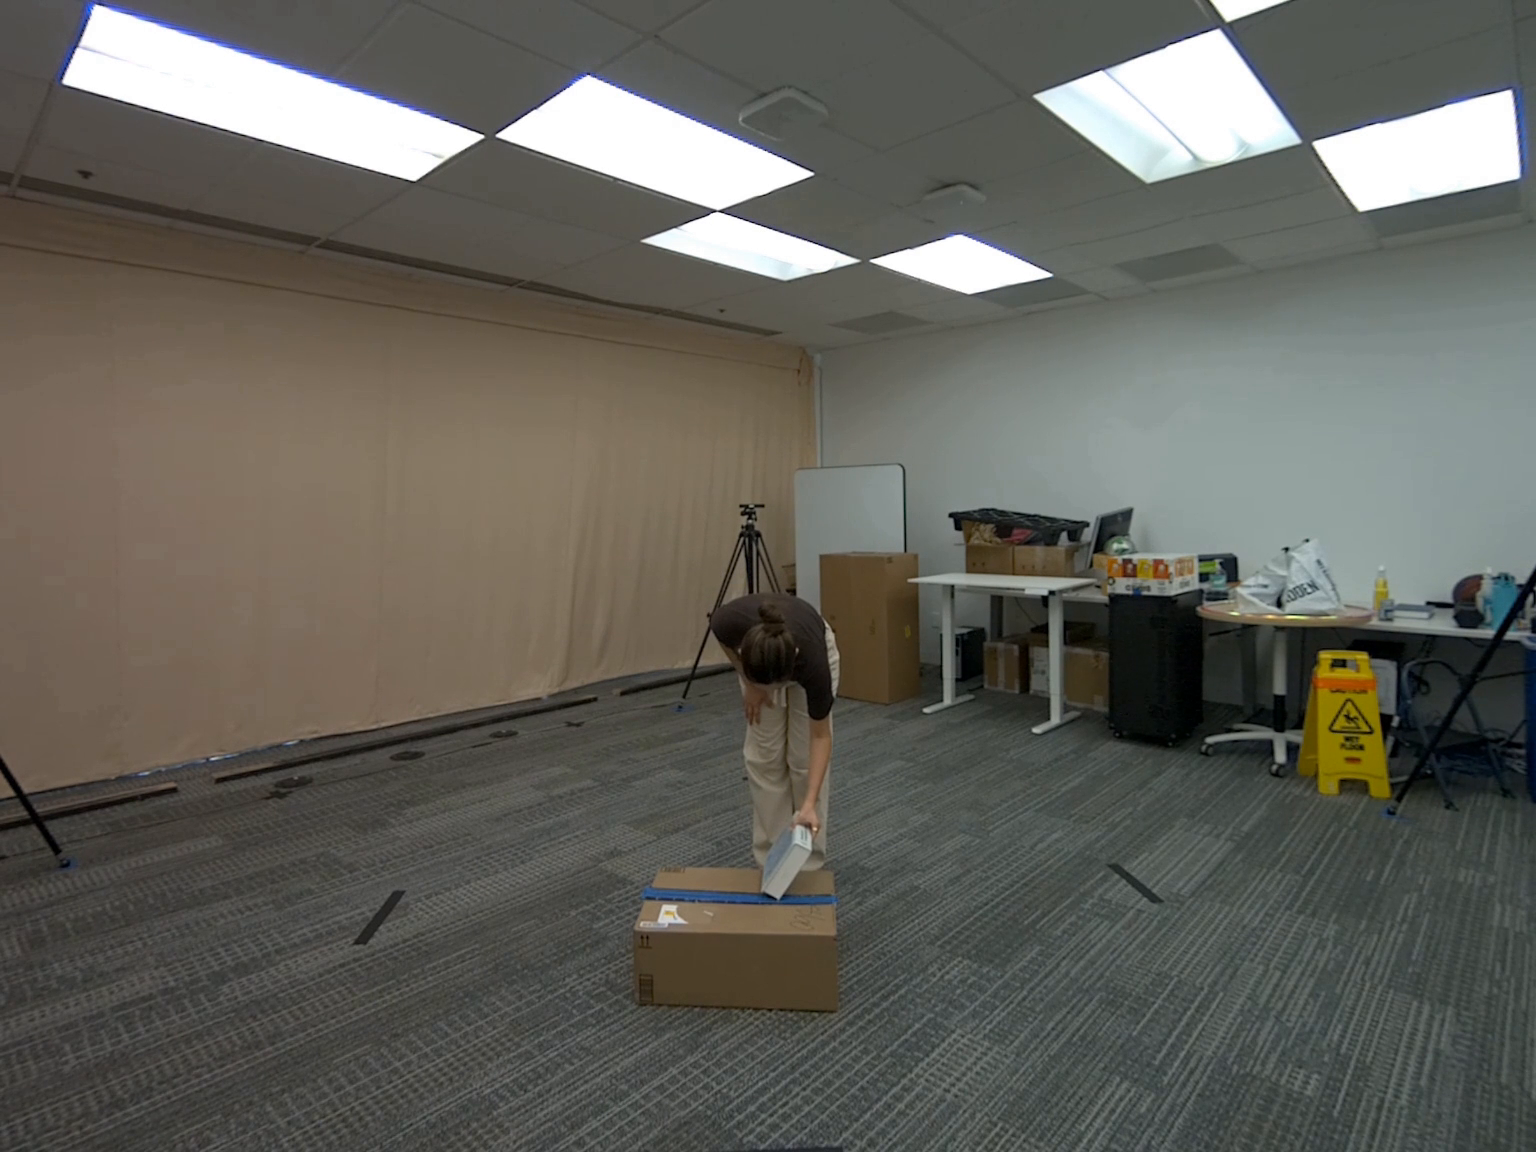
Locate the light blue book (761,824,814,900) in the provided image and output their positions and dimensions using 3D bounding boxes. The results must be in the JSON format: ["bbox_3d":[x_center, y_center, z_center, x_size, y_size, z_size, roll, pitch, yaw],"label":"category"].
[{"bbox_3d":[0.059,0.859,2.628,0.059,0.191,0.260,30,6,1],"label":"light blue book"}]
